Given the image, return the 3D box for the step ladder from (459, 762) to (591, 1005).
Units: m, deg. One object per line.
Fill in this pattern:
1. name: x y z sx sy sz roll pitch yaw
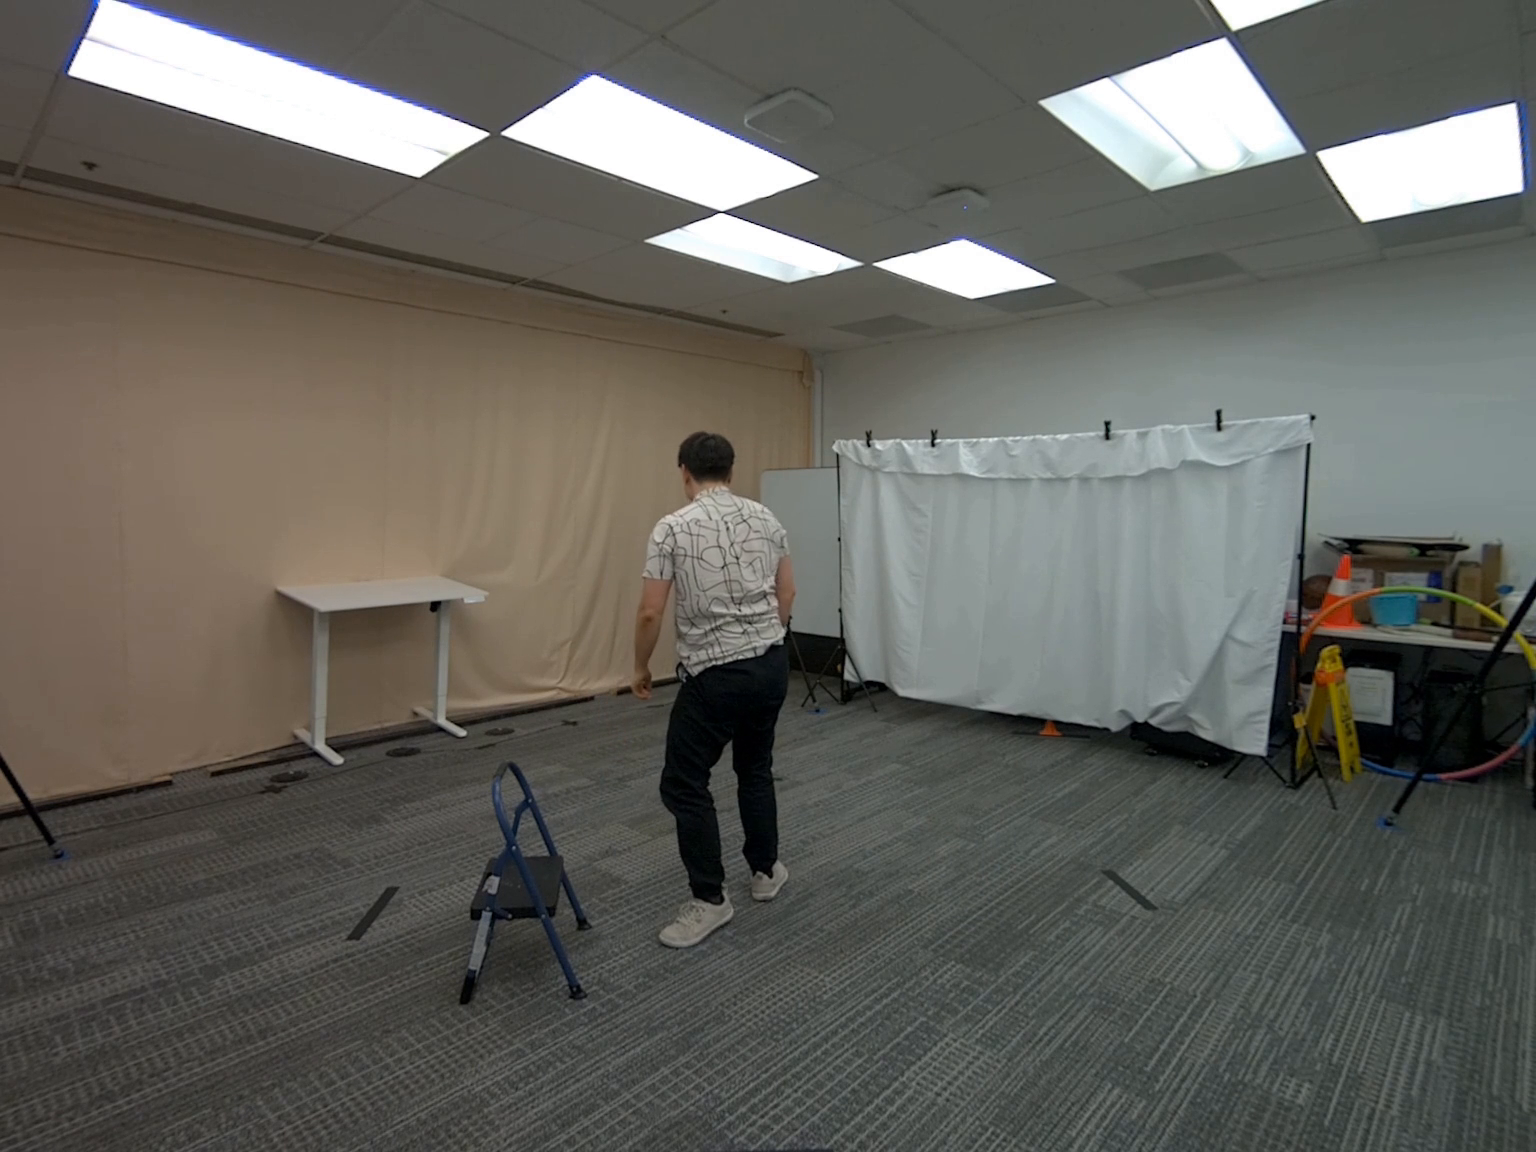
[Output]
1. step ladder: -0.731 0.884 2.555 0.346 0.605 0.435 -1 4 -9
